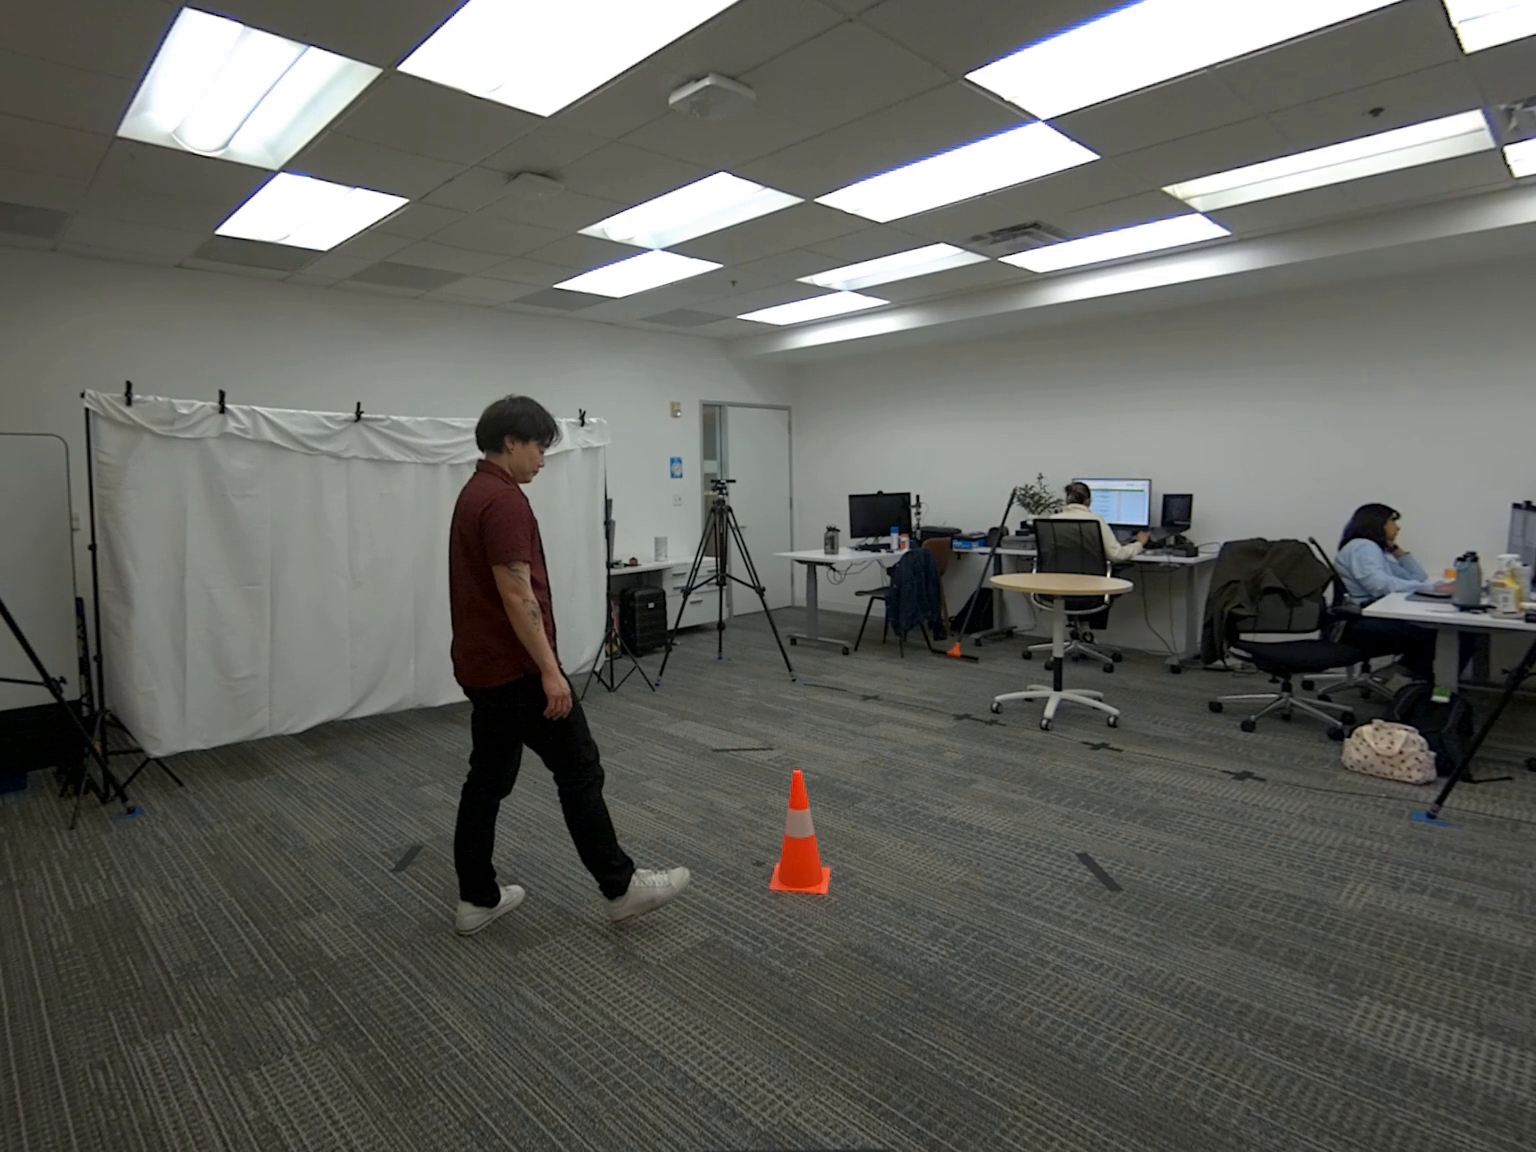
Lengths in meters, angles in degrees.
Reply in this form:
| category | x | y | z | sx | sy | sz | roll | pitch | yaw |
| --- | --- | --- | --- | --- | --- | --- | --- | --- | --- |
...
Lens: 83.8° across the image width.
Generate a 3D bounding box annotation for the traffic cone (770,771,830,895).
| category | x | y | z | sx | sy | sz | roll | pitch | yaw |
| --- | --- | --- | --- | --- | --- | --- | --- | --- | --- |
| traffic cone | 0.120 | 0.871 | 2.970 | 0.208 | 0.382 | 0.201 | 1 | 4 | 13 |
